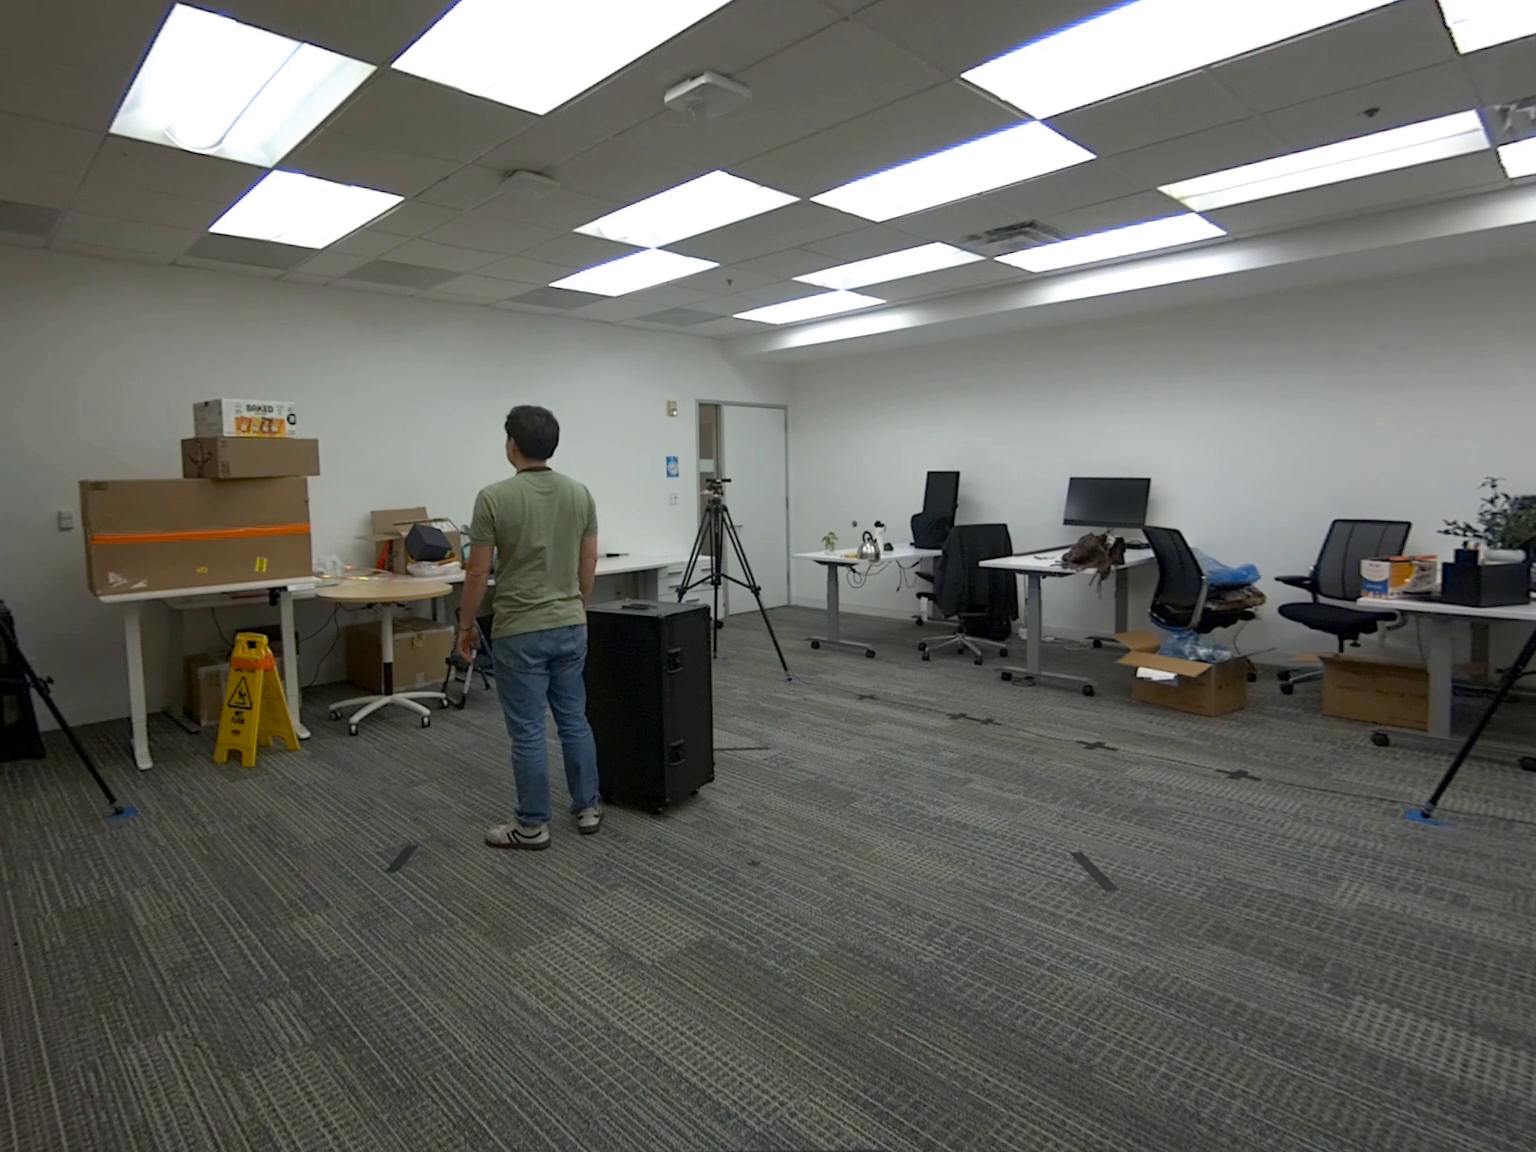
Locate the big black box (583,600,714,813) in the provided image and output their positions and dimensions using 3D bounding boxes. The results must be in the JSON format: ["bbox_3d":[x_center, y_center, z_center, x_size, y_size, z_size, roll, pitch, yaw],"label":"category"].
[{"bbox_3d":[-0.530,0.558,3.760,0.536,0.859,0.386,1,4,34],"label":"big black box"}]
